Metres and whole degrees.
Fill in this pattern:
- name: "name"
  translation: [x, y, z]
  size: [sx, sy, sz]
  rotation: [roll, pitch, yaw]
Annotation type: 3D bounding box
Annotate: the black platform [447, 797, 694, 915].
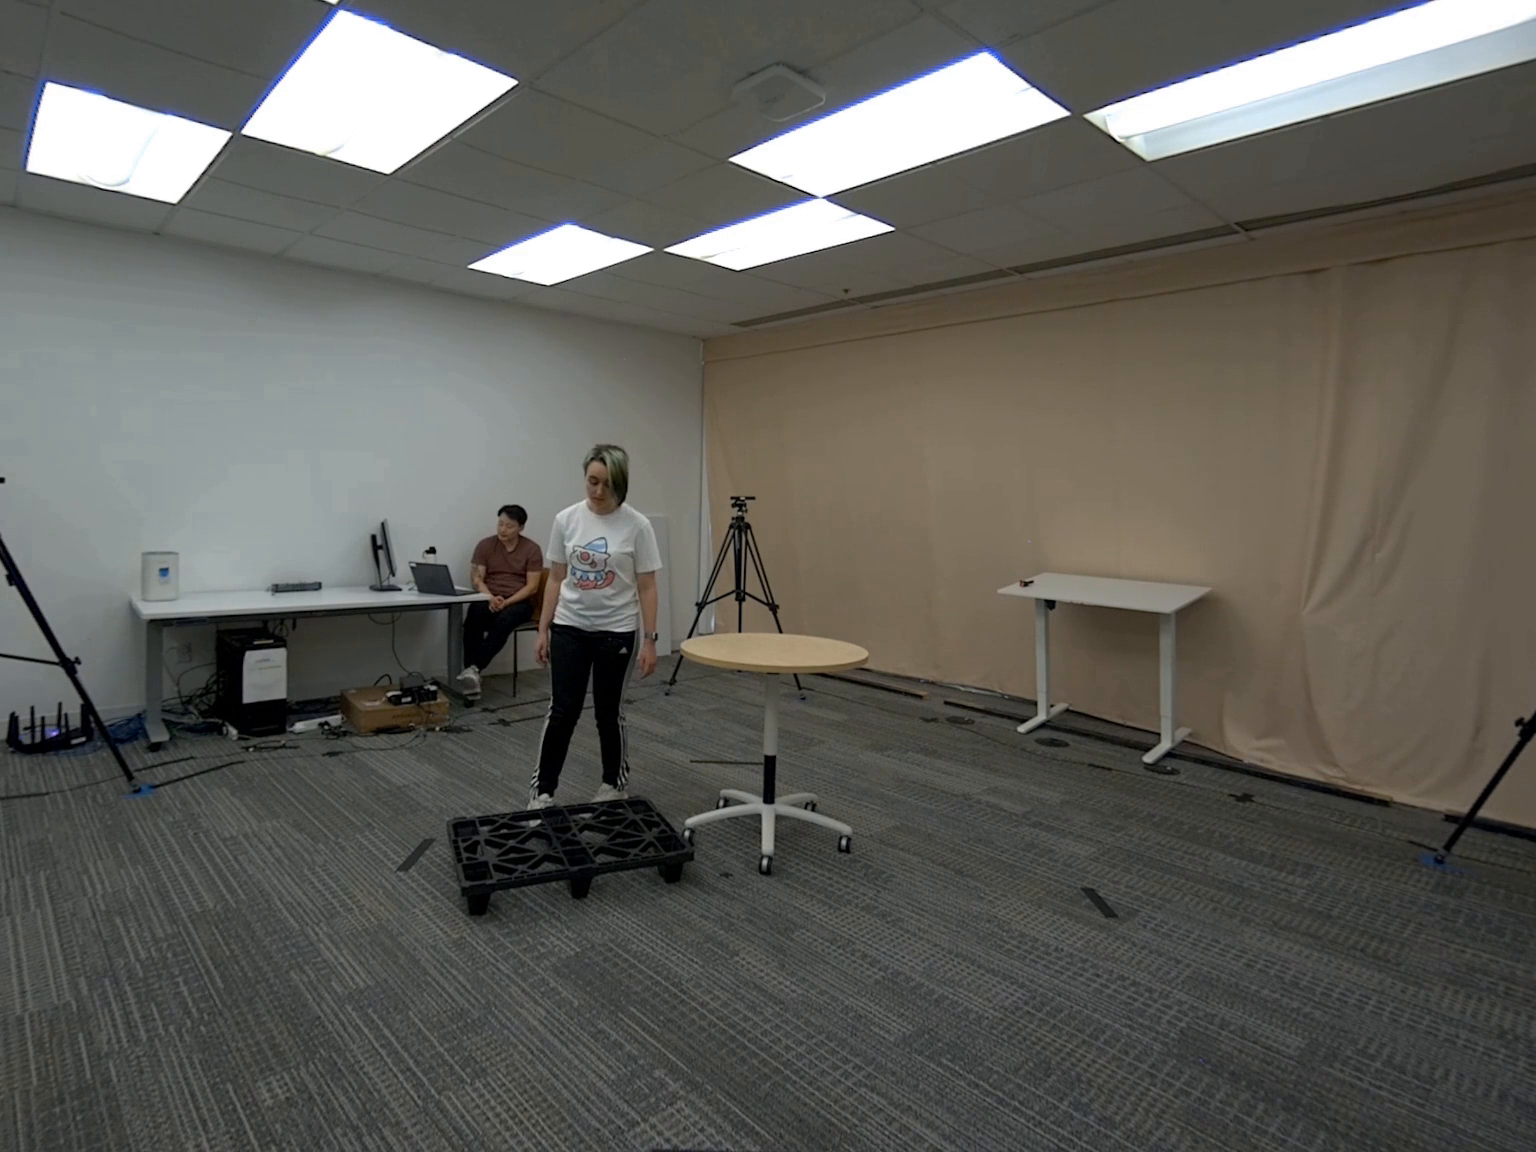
- name: "black platform"
  translation: [-0.755, 1.021, 3.113]
  size: [0.791, 0.143, 0.617]
  rotation: [-1, 5, -24]
